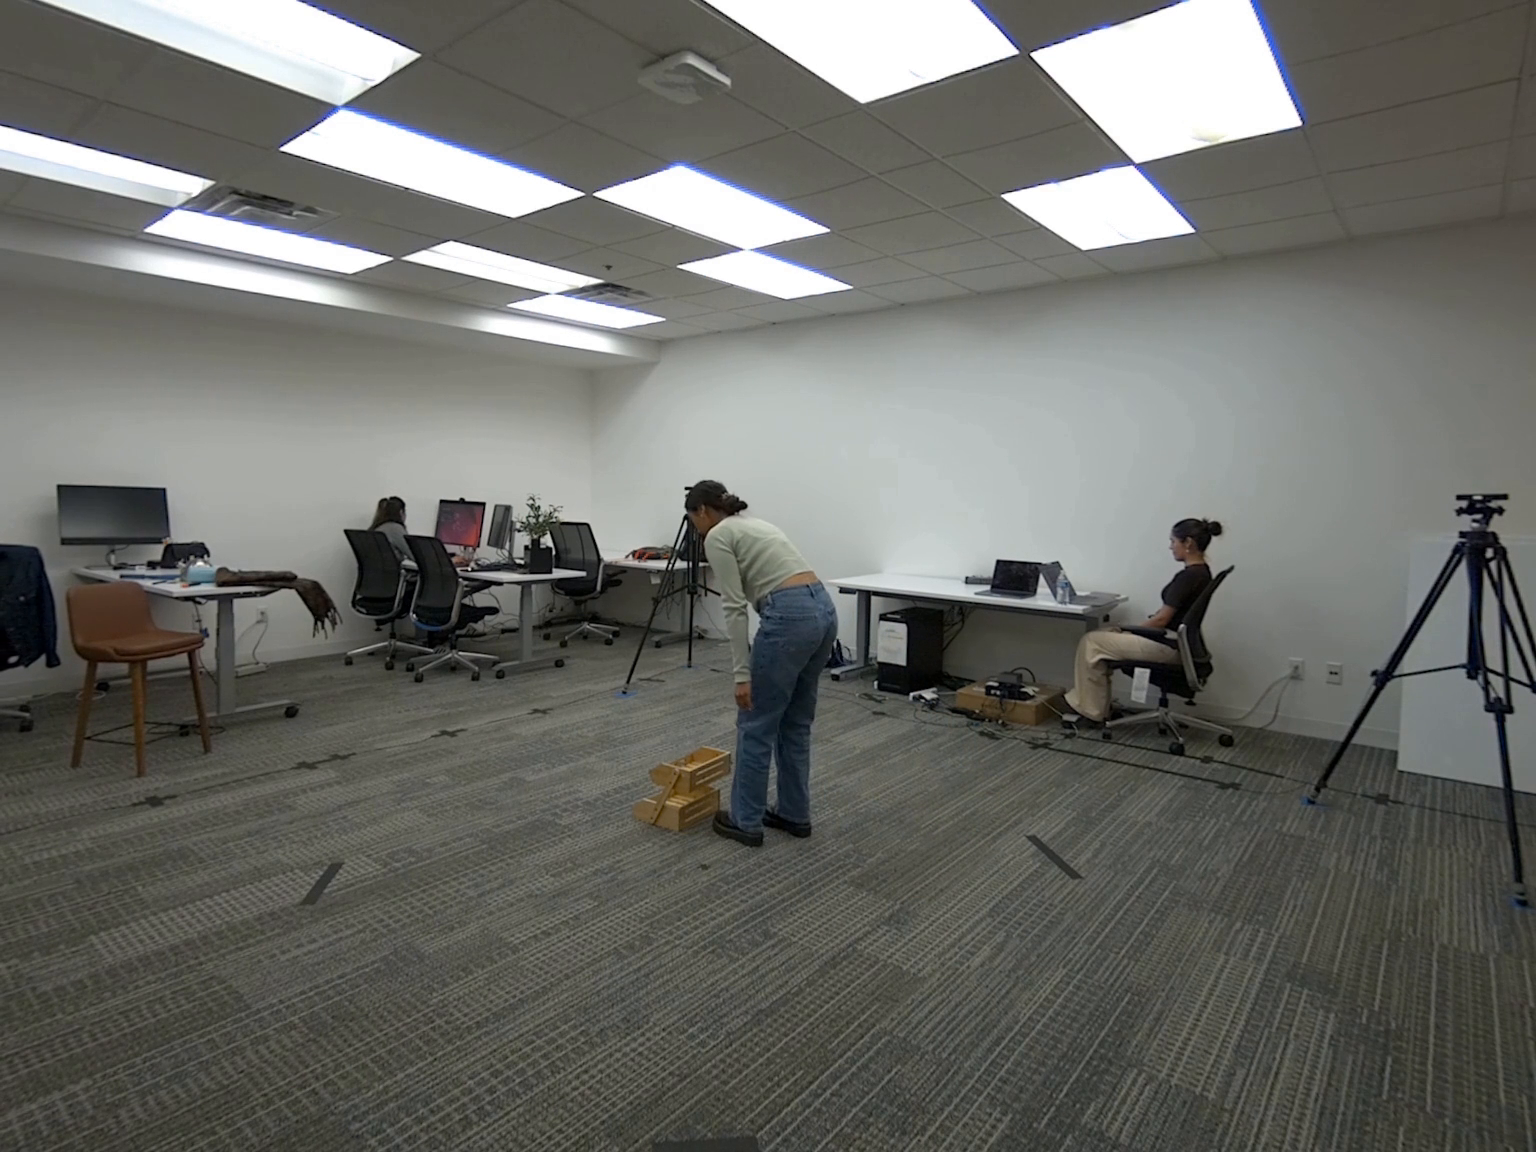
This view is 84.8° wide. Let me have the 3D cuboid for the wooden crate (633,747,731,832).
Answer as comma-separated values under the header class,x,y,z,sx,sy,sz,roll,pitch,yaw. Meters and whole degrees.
class,x,y,z,sx,sy,sz,roll,pitch,yaw
wooden crate,-0.379,0.878,3.610,0.311,0.272,0.316,4,6,32
